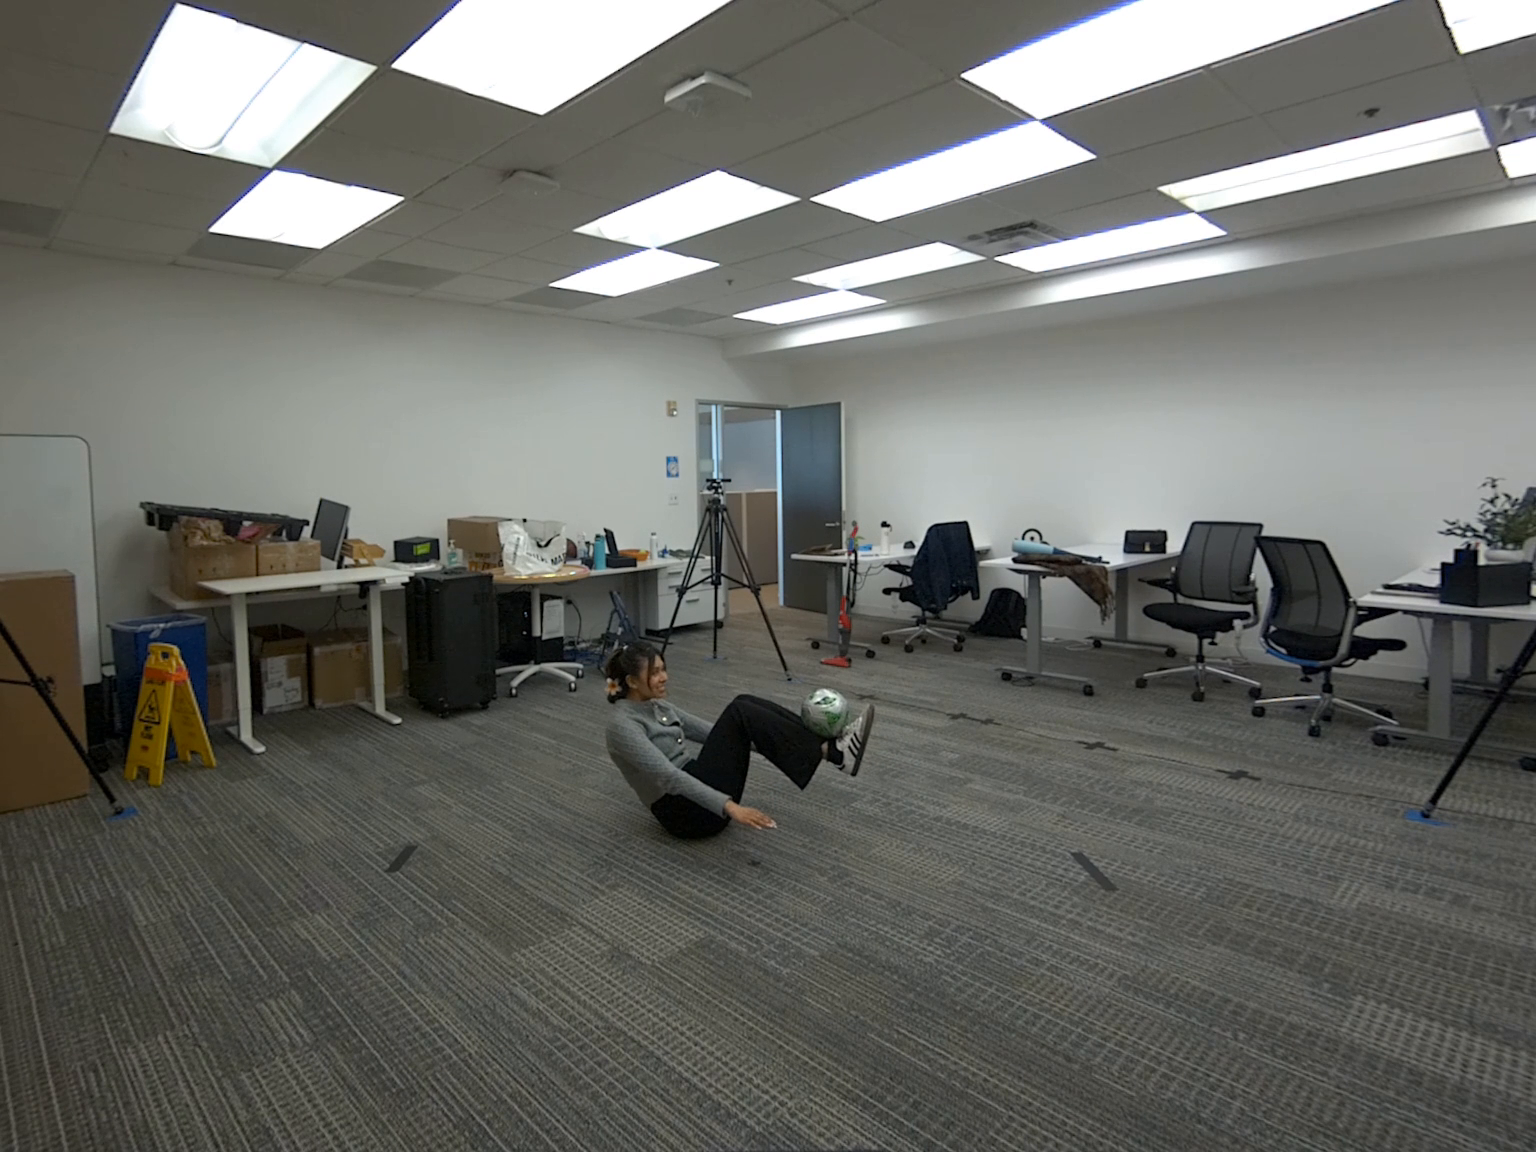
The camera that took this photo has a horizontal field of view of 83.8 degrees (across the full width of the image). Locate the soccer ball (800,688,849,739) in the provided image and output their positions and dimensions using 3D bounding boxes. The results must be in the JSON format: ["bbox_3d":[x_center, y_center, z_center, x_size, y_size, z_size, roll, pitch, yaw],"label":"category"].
[{"bbox_3d":[0.227,0.531,3.273,0.187,0.187,0.188,-1,5,-2],"label":"soccer ball"}]
